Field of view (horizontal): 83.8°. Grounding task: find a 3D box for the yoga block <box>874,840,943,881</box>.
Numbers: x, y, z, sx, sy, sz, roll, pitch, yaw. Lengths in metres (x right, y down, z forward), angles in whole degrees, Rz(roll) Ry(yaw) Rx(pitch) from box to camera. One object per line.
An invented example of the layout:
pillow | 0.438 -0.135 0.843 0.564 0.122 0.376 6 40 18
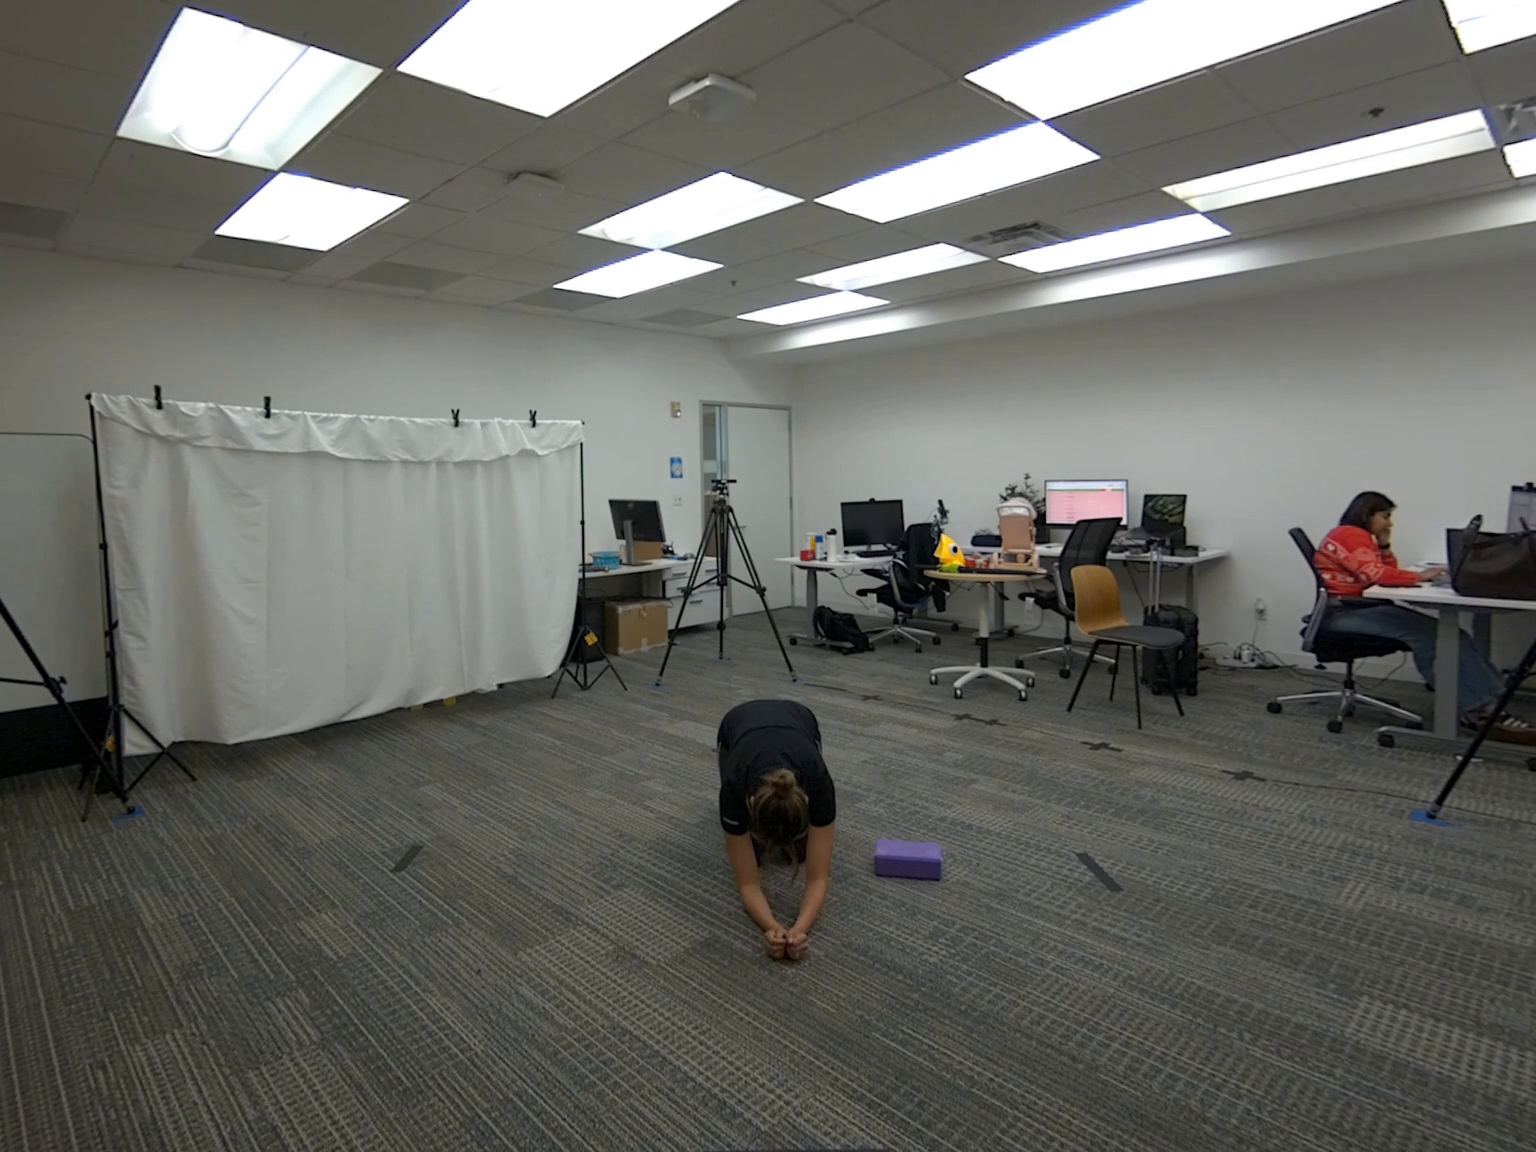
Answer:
yoga block | 0.499 1.001 3.034 0.232 0.076 0.148 -1 6 10
